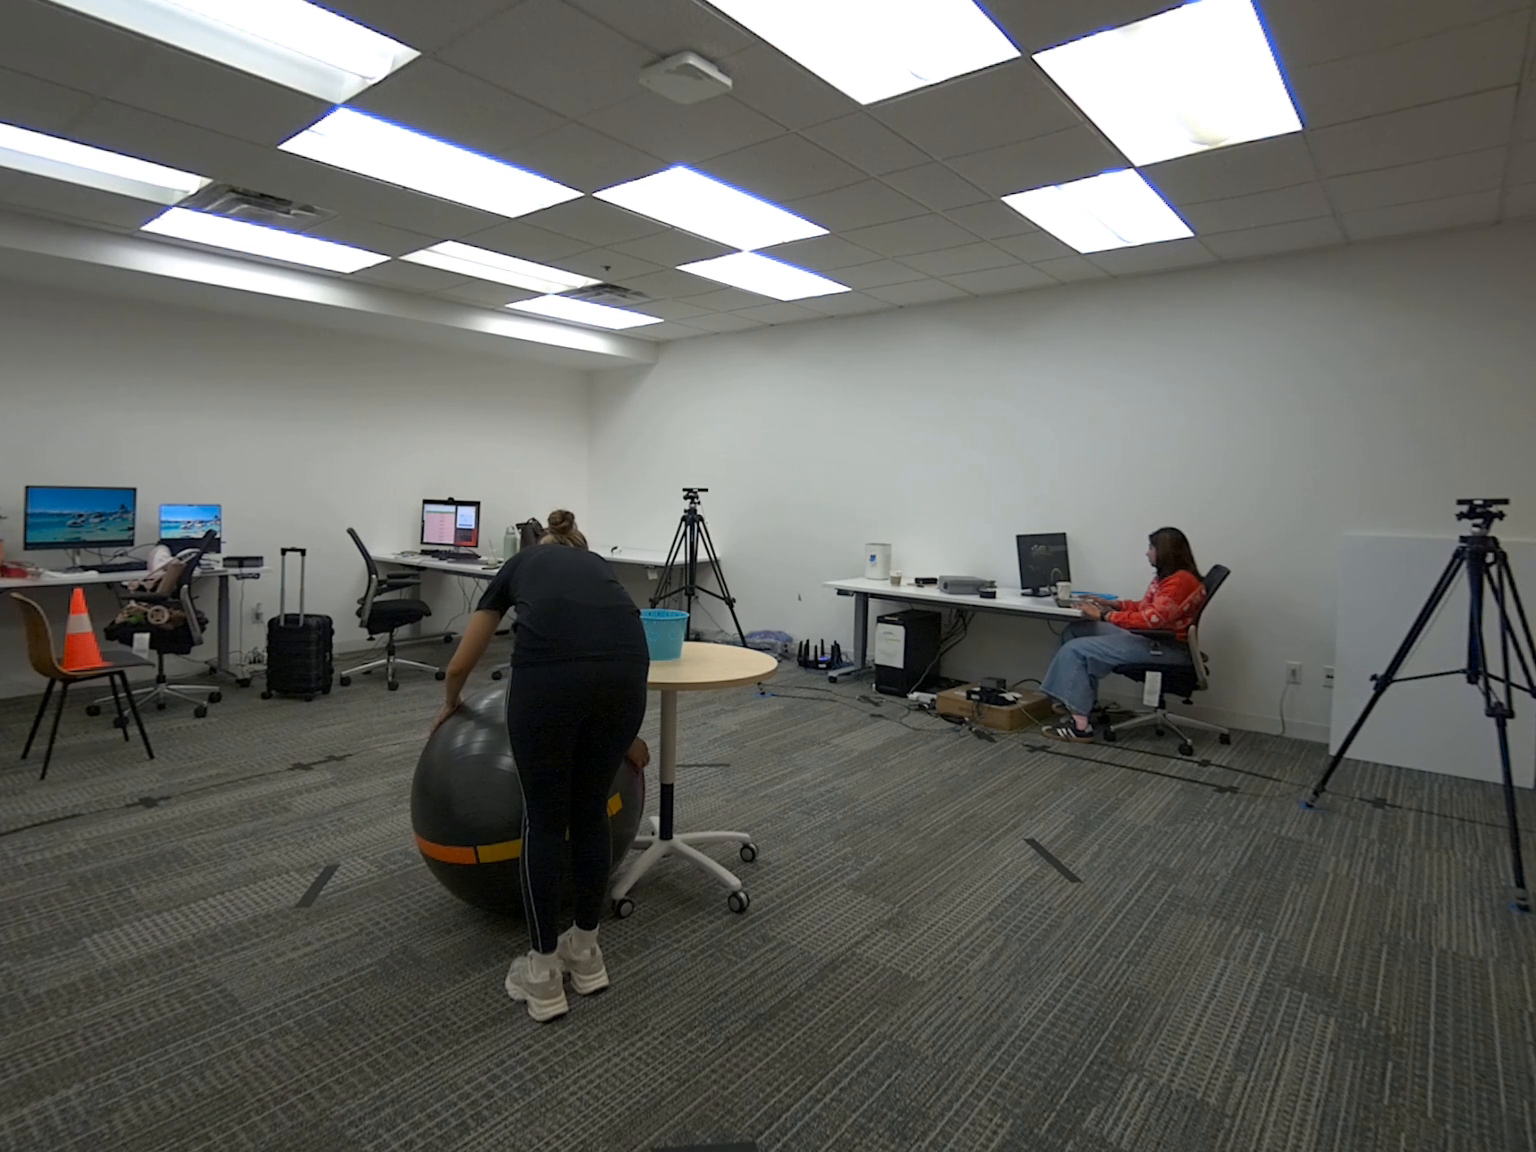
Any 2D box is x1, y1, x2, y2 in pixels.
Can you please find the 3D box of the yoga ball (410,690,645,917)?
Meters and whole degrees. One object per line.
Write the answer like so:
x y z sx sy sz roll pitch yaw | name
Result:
-0.804 0.729 2.821 0.757 0.756 0.761 1 4 -2 | yoga ball
